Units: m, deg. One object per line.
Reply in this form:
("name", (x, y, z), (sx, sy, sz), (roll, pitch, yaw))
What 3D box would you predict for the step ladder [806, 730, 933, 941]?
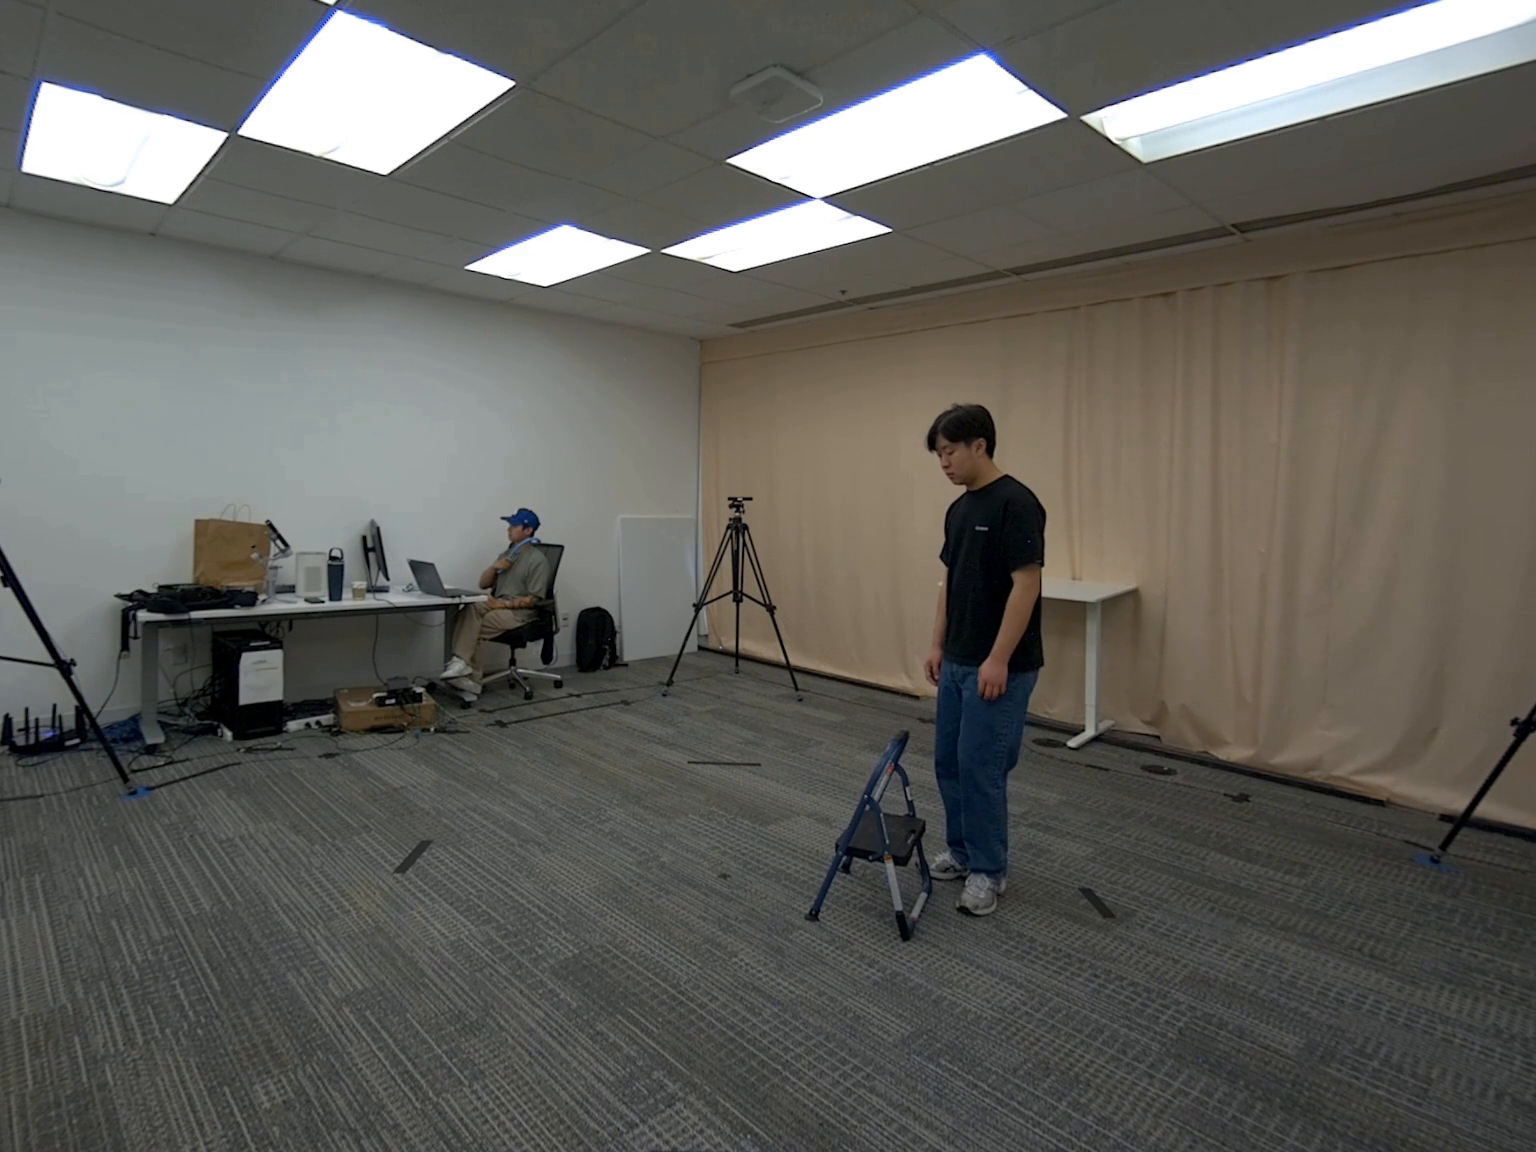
("step ladder", (0.364, 0.837, 2.896), (0.355, 0.604, 0.424), (3, 4, 21))
